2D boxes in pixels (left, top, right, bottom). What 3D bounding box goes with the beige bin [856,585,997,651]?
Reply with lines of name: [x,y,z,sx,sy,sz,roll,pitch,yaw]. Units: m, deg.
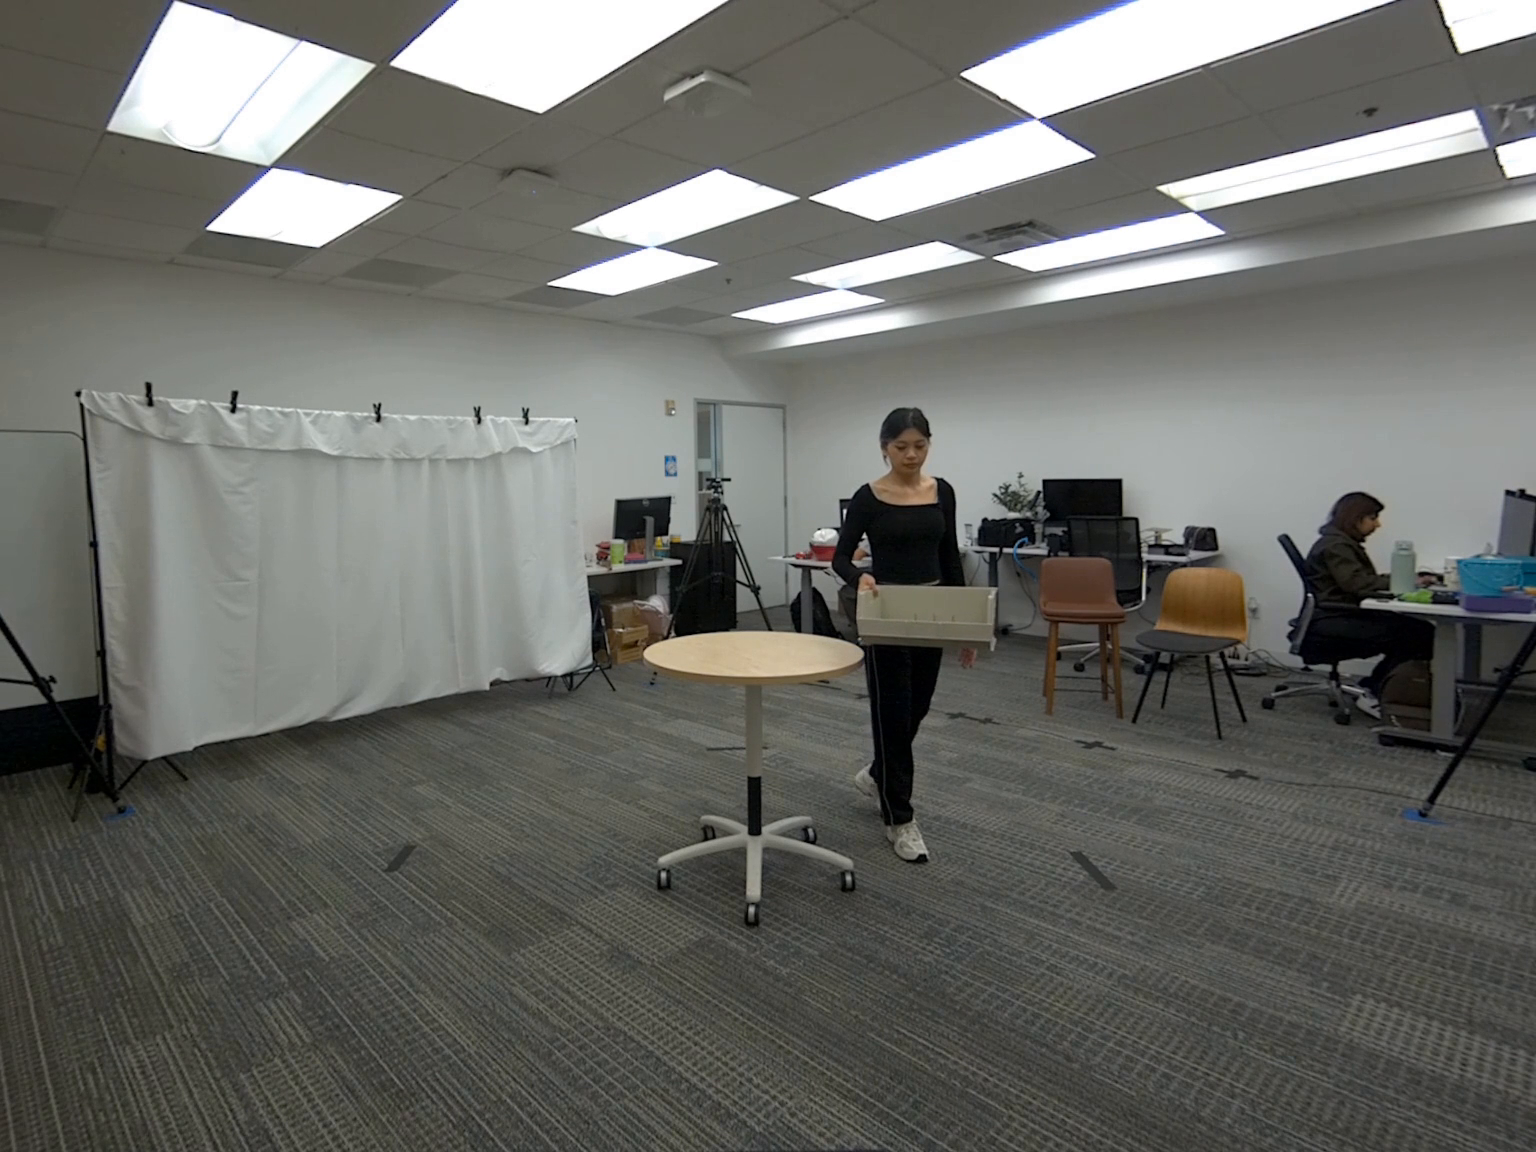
beige bin: [0.536,0.140,2.833,0.429,0.189,0.371,0,0,17]
